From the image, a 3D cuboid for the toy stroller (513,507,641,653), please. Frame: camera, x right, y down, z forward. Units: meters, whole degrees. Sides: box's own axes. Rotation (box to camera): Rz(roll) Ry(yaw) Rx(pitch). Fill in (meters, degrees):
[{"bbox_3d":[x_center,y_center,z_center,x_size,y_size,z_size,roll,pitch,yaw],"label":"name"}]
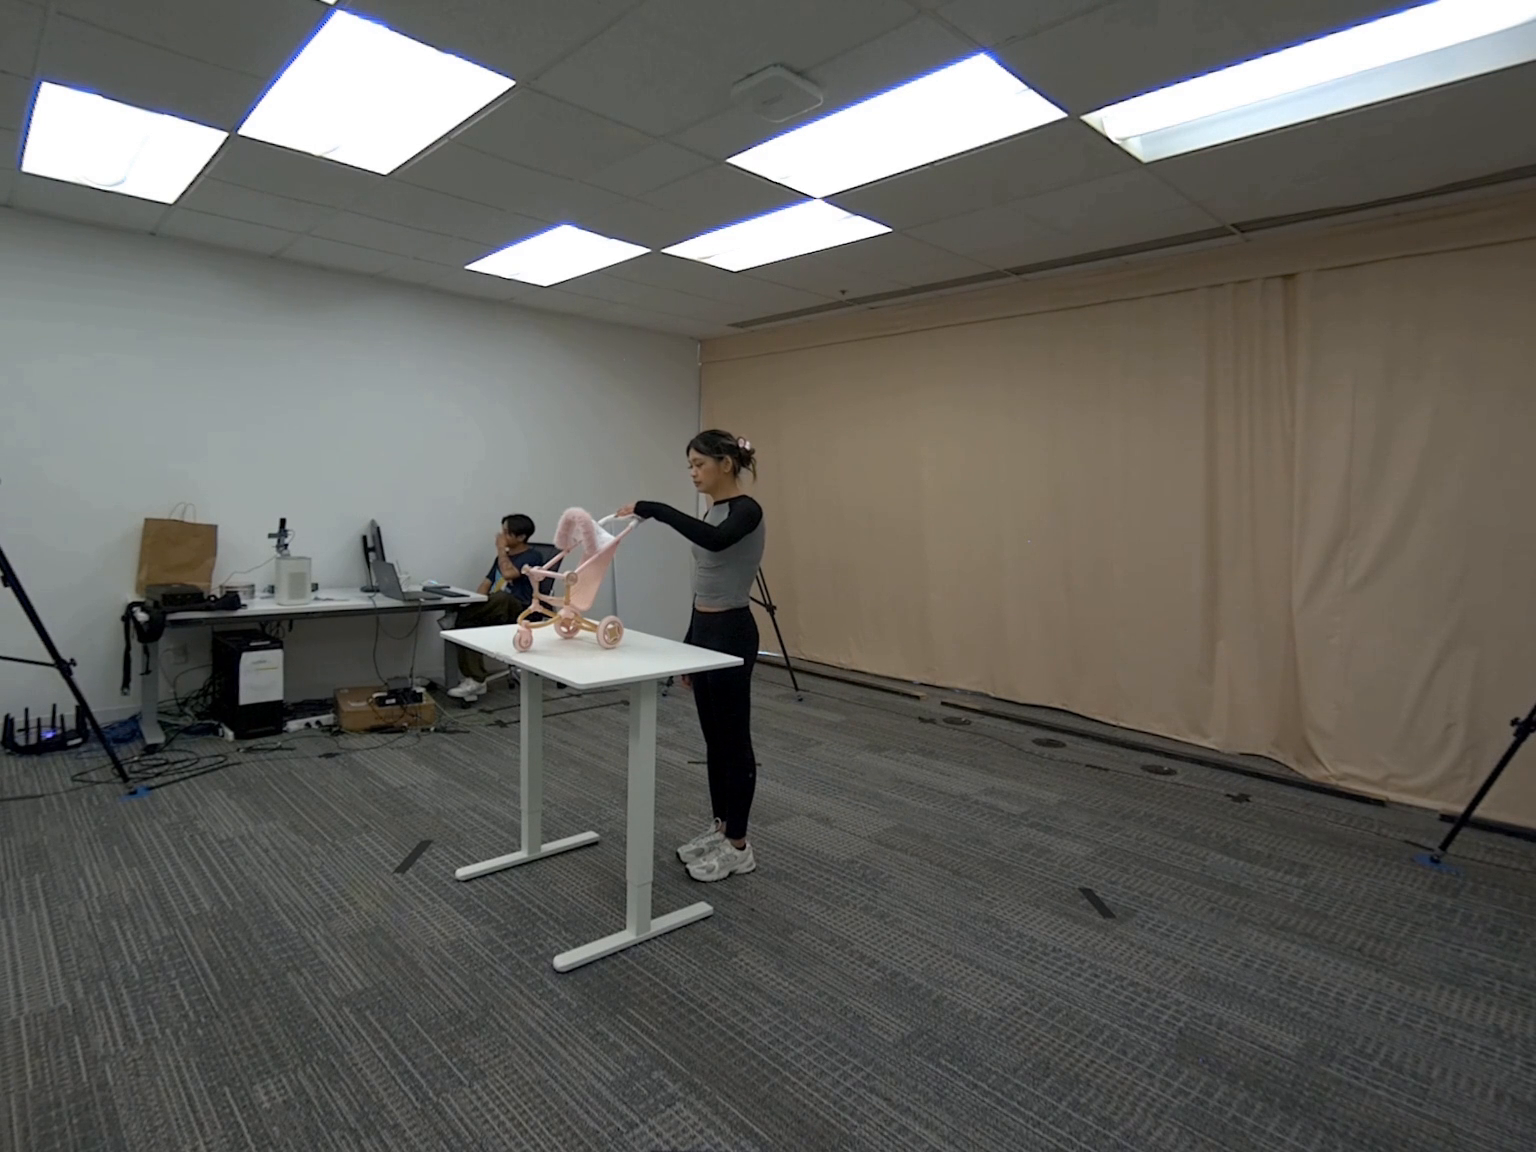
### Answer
[{"bbox_3d":[-0.669,0.013,2.838,0.332,0.537,0.288,16,-8,-41],"label":"toy stroller"}]
